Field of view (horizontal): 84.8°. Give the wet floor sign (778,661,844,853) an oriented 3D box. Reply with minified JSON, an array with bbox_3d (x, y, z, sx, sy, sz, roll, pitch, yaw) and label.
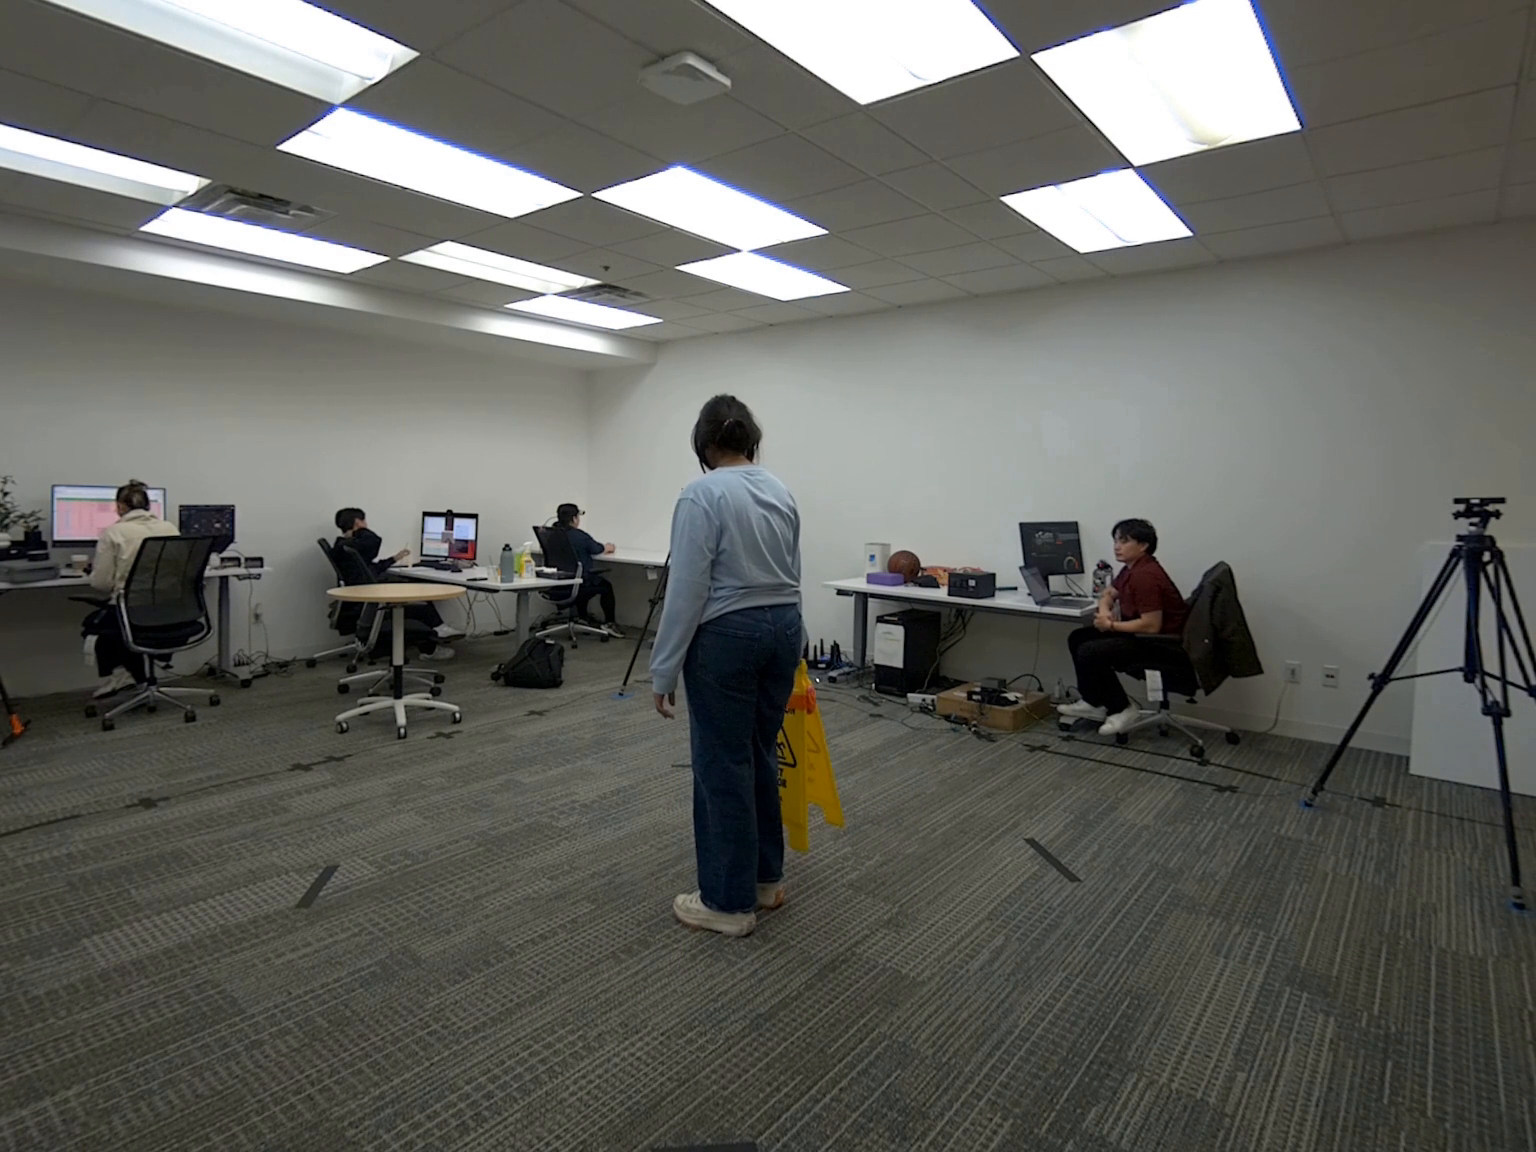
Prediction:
[{"bbox_3d":[0.065,0.608,3.075,0.291,0.643,0.282,1,6,39],"label":"wet floor sign"}]
